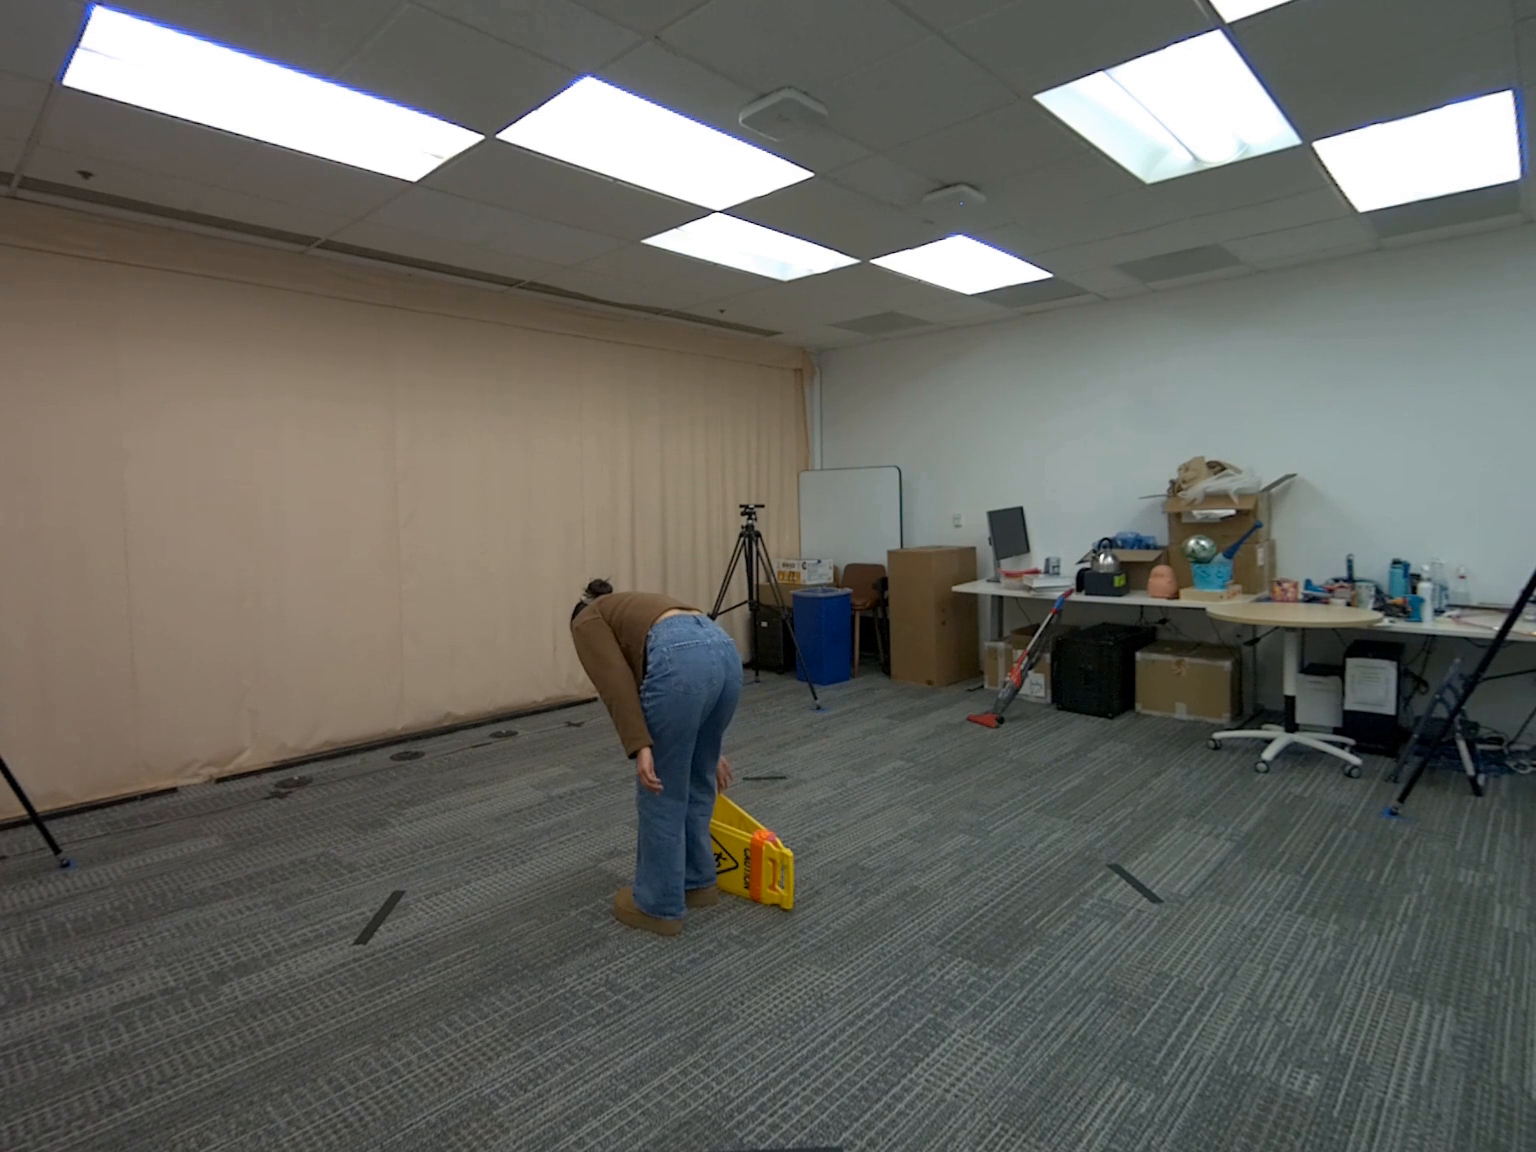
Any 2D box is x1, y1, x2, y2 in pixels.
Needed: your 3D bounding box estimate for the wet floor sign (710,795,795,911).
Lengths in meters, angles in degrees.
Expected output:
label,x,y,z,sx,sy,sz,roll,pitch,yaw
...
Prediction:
label,x,y,z,sx,sy,sz,roll,pitch,yaw
wet floor sign,-0.139,1.004,3.106,0.281,0.281,0.668,-4,8,-43
